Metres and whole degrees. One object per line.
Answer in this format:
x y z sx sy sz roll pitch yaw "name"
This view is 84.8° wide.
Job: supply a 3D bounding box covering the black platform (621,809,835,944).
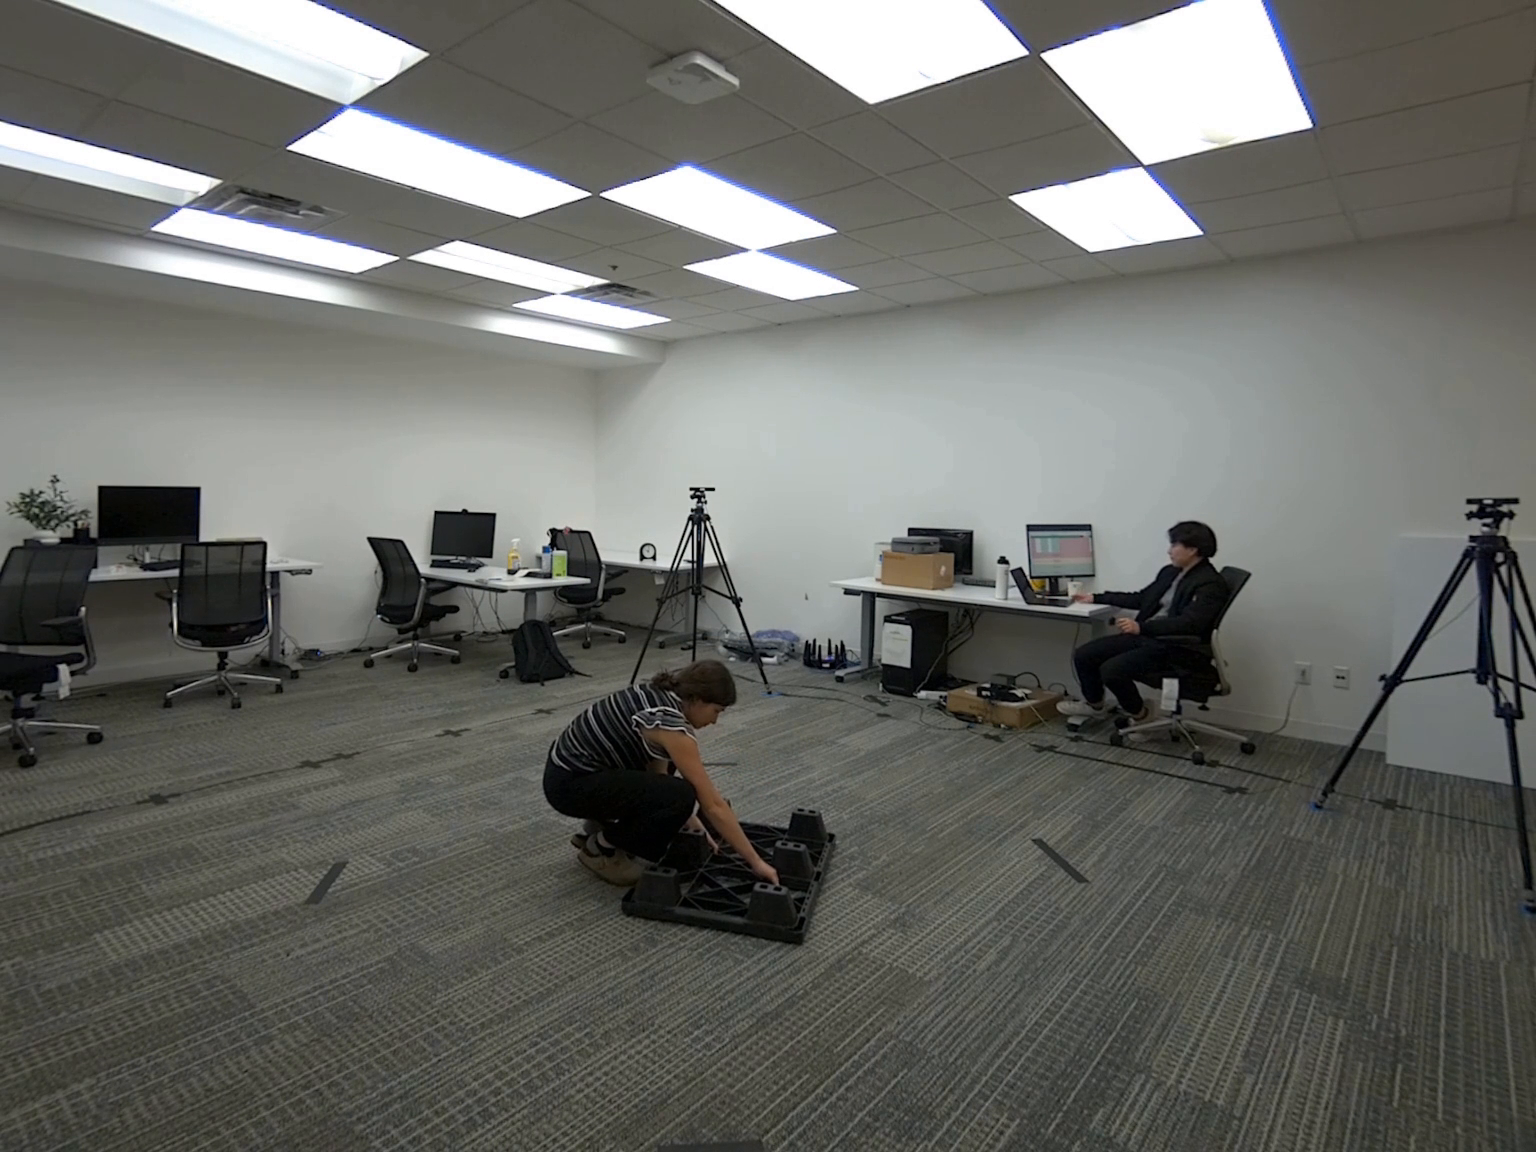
-0.114 1.003 3.053 0.615 0.143 0.796 3 5 13 "black platform"
